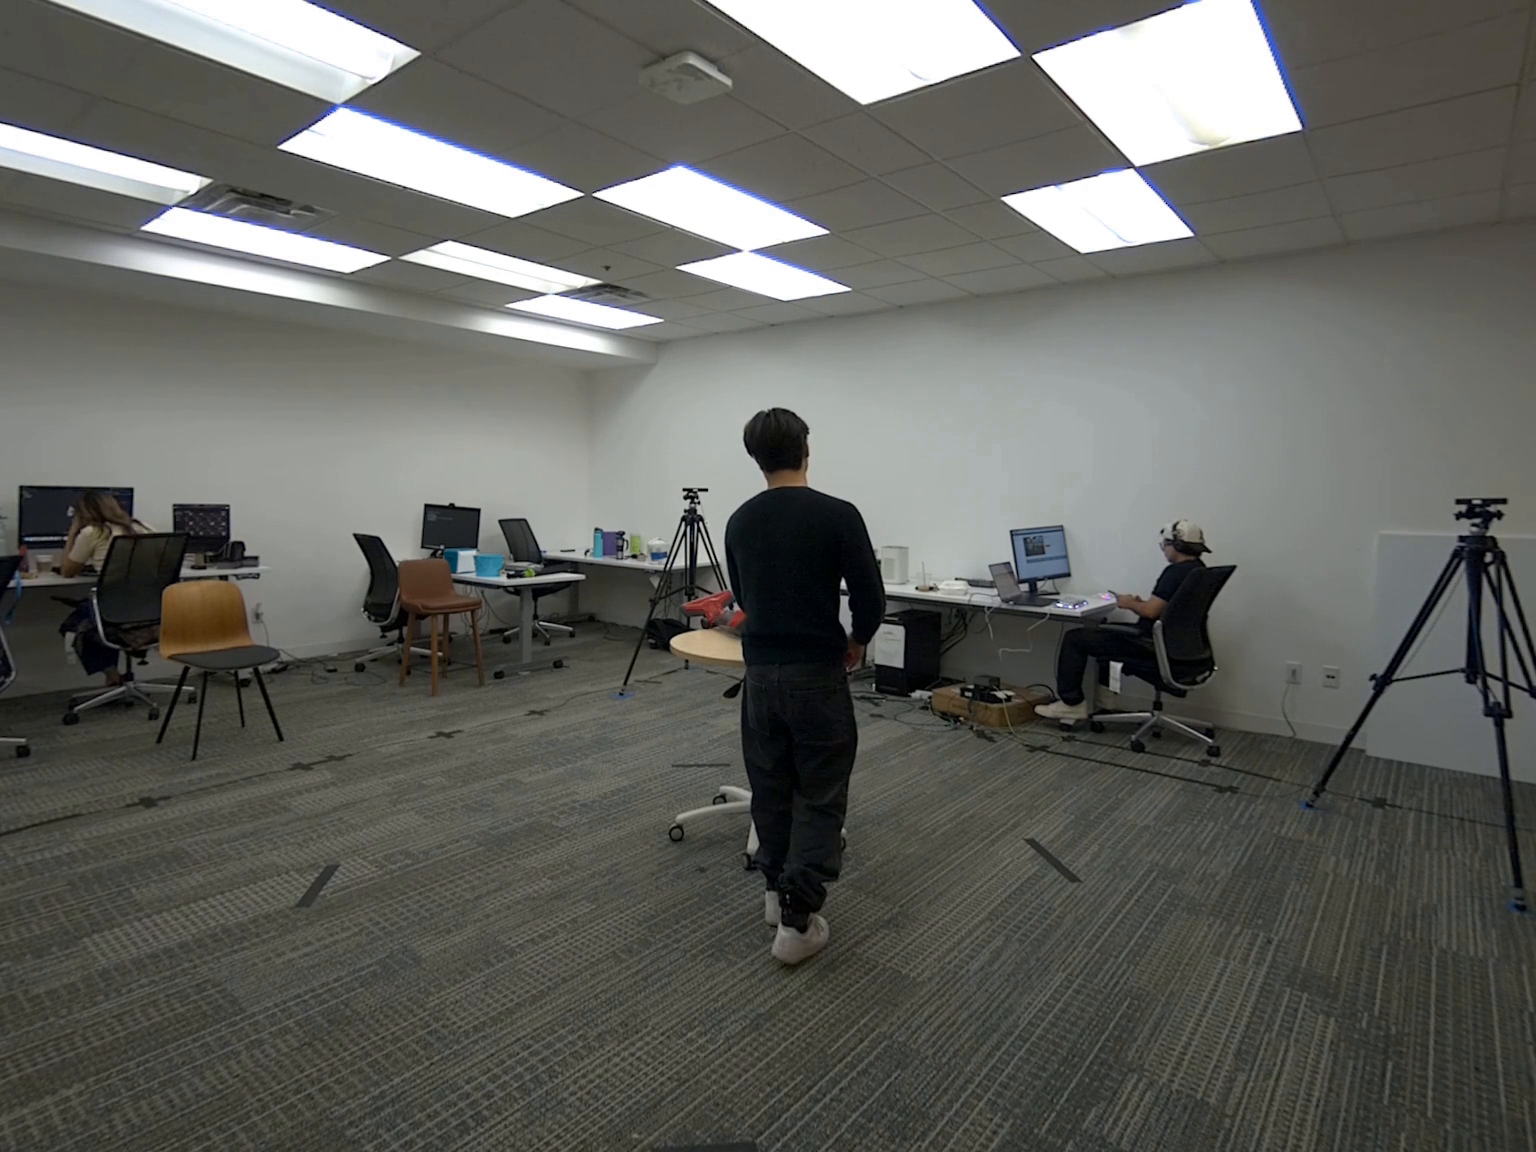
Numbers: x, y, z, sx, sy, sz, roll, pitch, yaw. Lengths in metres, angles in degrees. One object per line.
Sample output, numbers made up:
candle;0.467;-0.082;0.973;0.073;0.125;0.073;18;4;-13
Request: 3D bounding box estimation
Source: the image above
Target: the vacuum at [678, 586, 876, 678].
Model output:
vacuum;-0.014;0.218;3.293;0.249;0.142;1.081;-22;16;-25
